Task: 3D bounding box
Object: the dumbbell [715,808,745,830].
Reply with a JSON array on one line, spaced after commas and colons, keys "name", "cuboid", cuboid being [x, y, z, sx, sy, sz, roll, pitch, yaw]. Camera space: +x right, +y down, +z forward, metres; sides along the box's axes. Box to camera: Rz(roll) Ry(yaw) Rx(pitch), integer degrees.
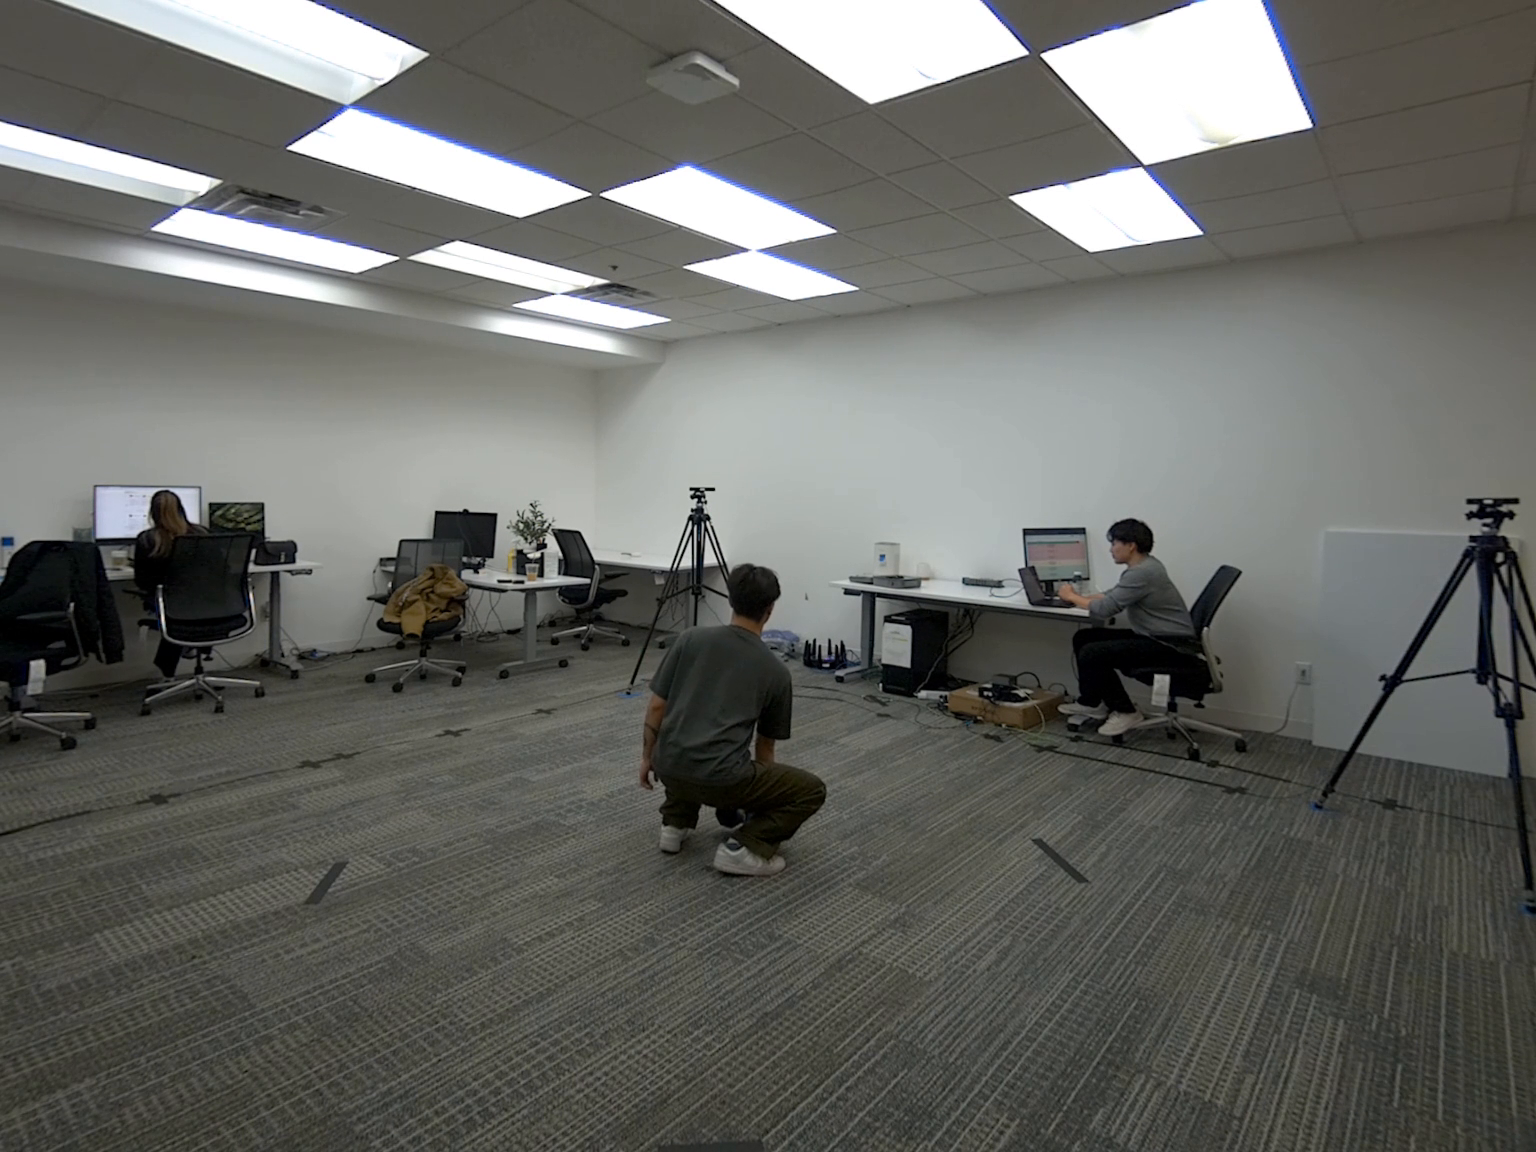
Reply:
[{"name": "dumbbell", "cuboid": [-0.072, 0.961, 3.375, 0.304, 0.124, 0.104, 7, -20, 39]}]
